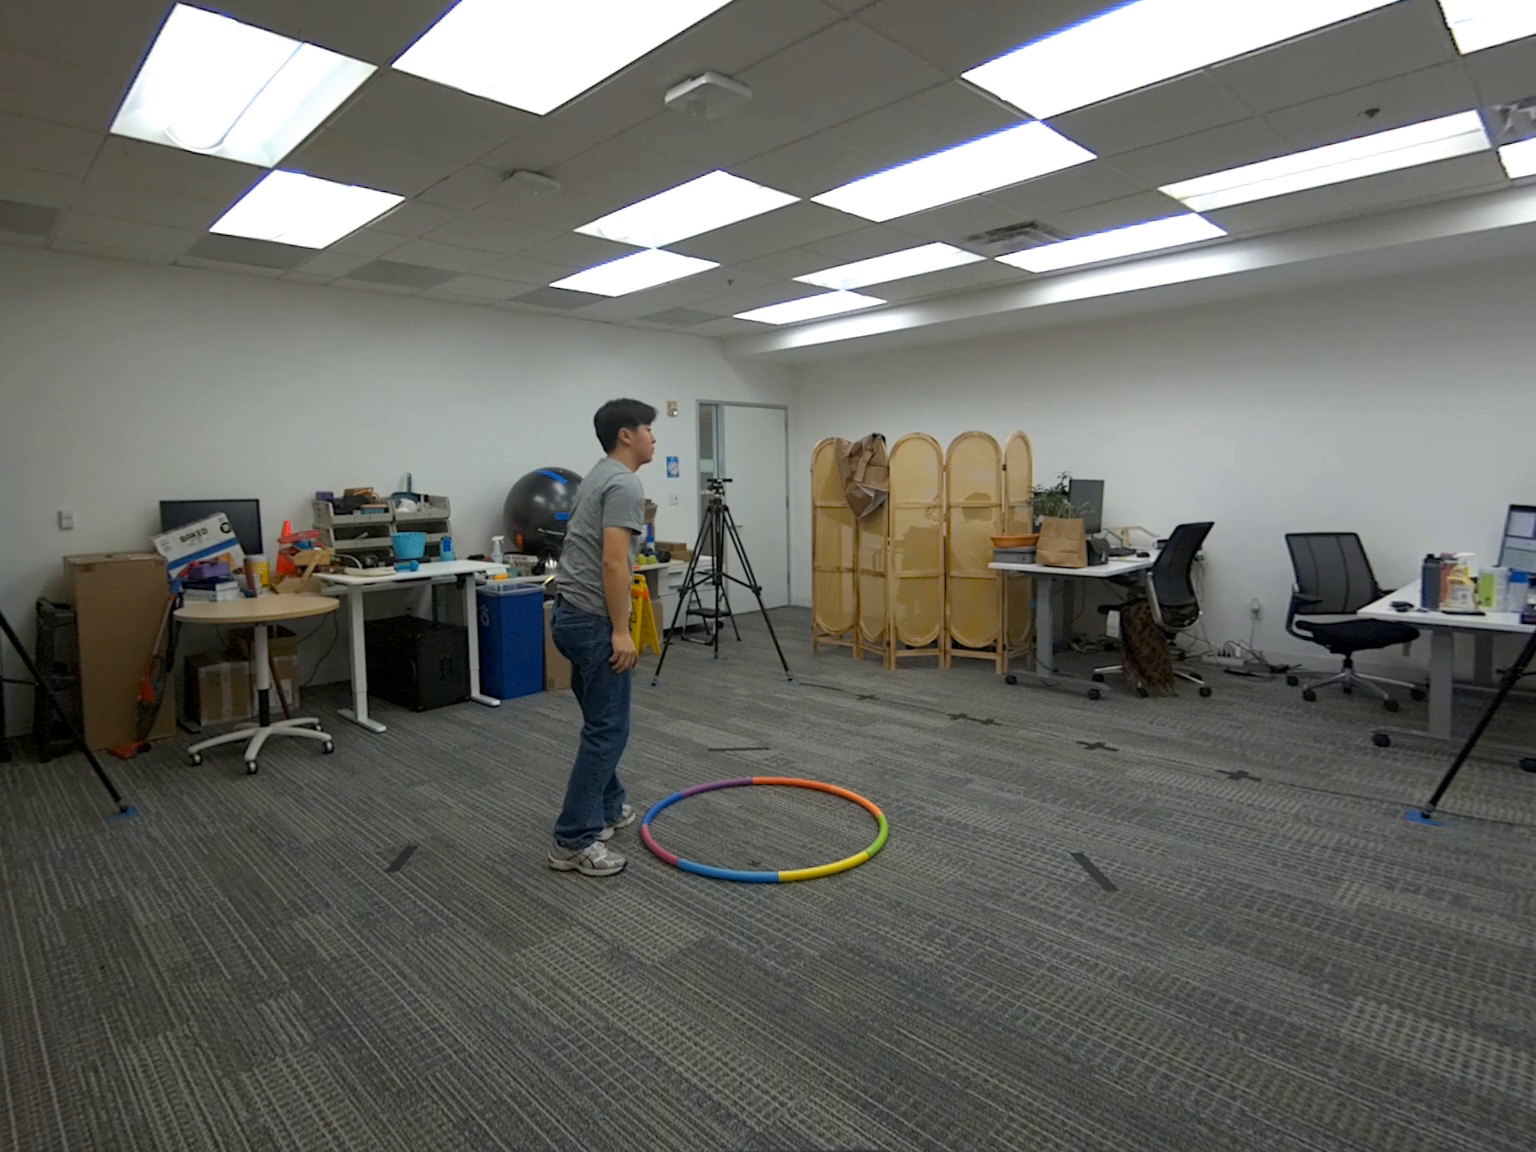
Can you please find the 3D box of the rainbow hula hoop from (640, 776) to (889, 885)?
[{"bbox_3d":[-0.018,0.979,3.431,0.978,0.035,0.984,-1,6,-2],"label":"rainbow hula hoop"}]
